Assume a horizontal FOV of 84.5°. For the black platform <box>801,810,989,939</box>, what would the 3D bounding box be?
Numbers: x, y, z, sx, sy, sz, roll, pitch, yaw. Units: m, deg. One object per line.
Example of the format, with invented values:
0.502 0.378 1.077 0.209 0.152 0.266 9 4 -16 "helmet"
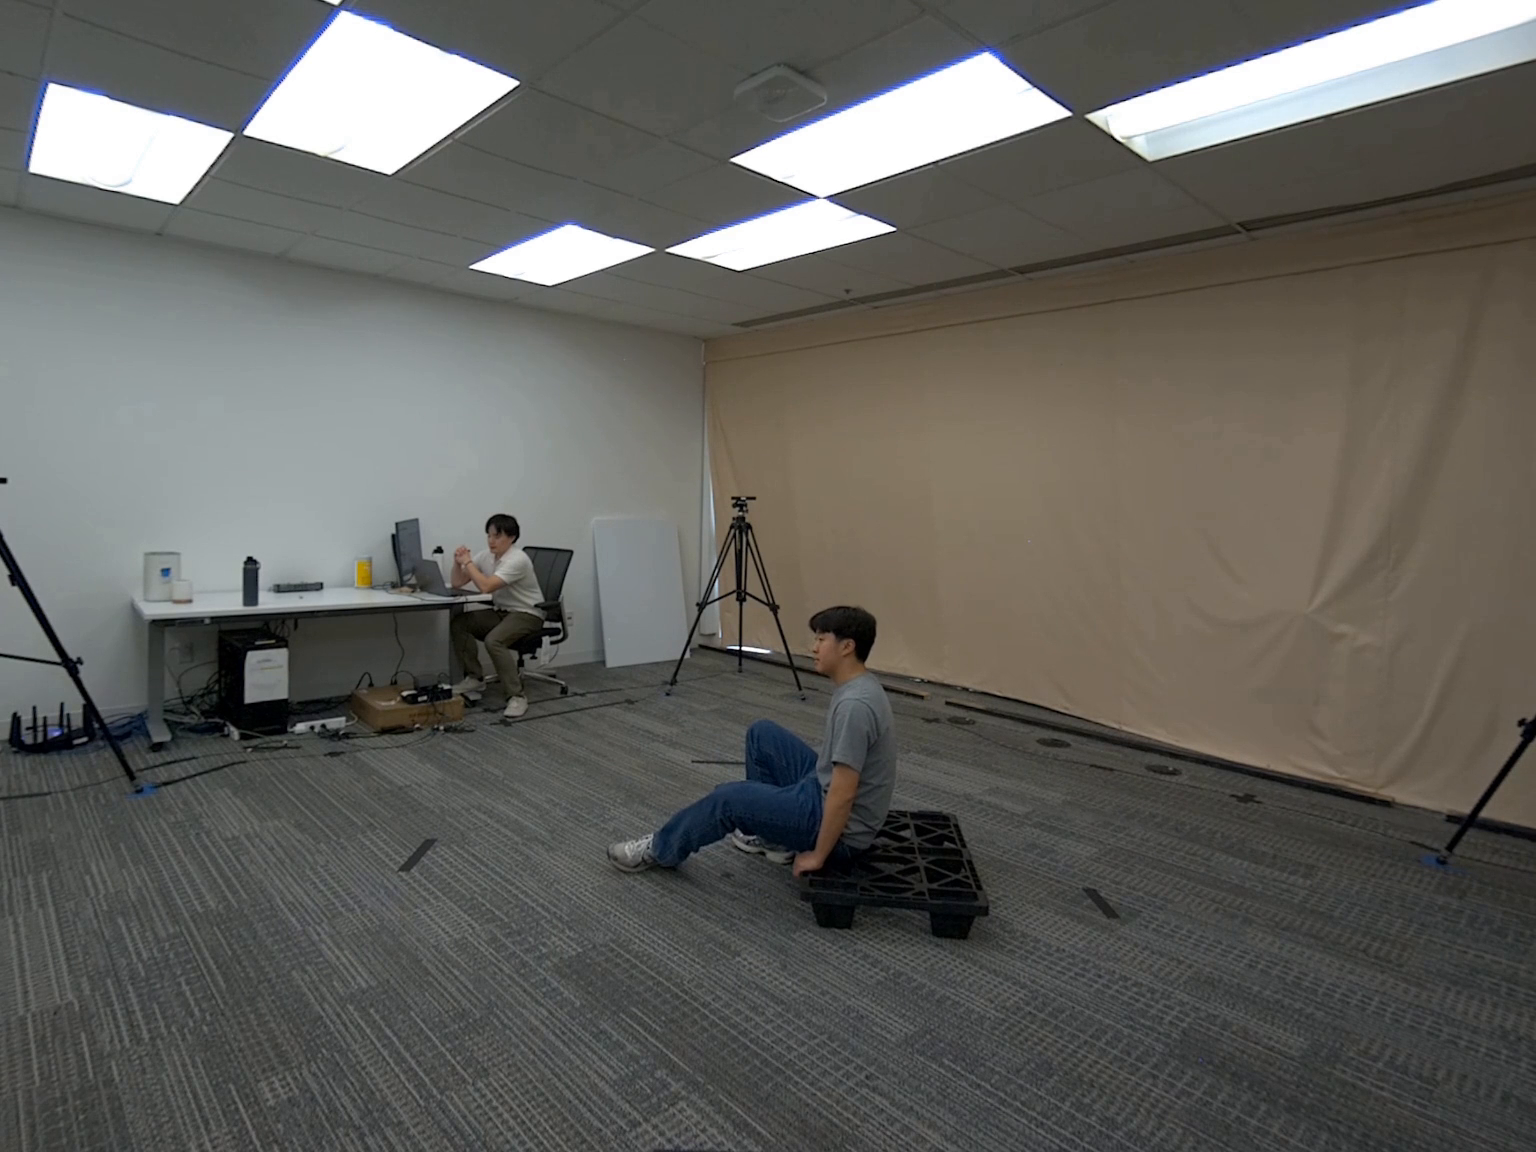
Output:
0.420 1.054 3.066 0.608 0.143 0.803 1 5 6 "black platform"
